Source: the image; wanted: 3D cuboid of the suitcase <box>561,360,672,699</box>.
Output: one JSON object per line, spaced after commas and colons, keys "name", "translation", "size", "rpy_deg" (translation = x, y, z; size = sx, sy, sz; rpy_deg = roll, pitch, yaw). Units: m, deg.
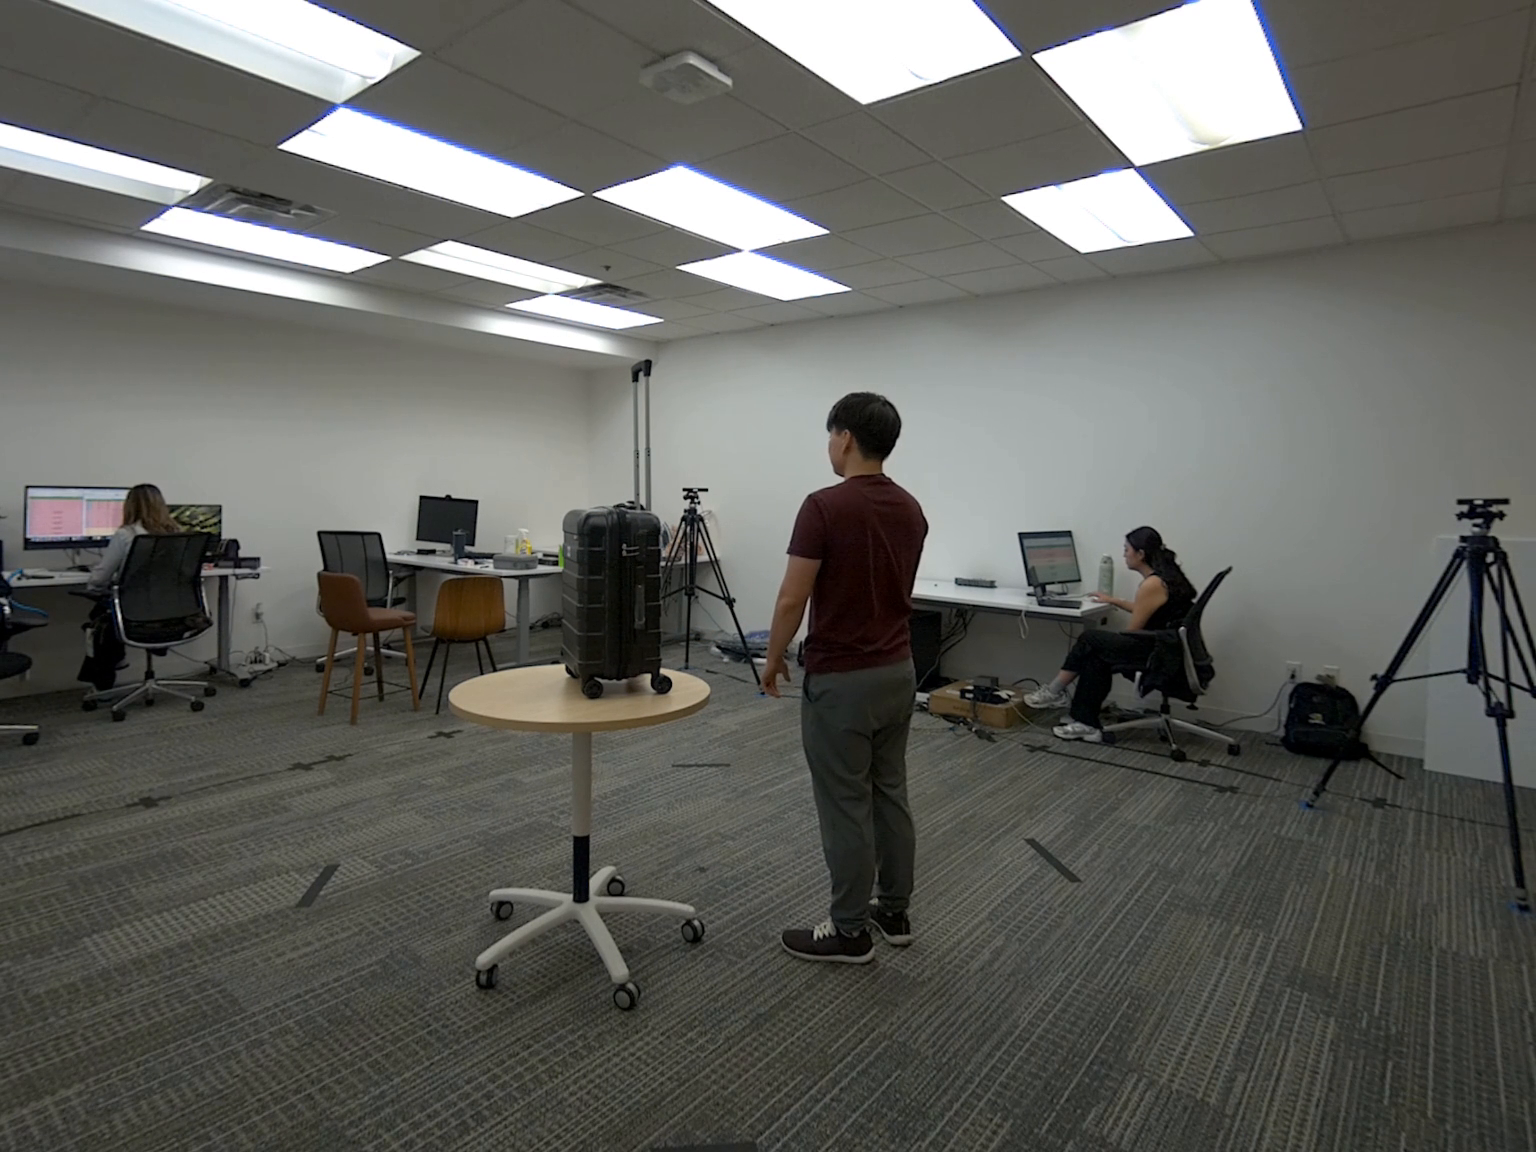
{"name": "suitcase", "translation": [-0.488, -0.148, 2.573], "size": [0.253, 0.977, 0.391], "rpy_deg": [-2, 2, -17]}
